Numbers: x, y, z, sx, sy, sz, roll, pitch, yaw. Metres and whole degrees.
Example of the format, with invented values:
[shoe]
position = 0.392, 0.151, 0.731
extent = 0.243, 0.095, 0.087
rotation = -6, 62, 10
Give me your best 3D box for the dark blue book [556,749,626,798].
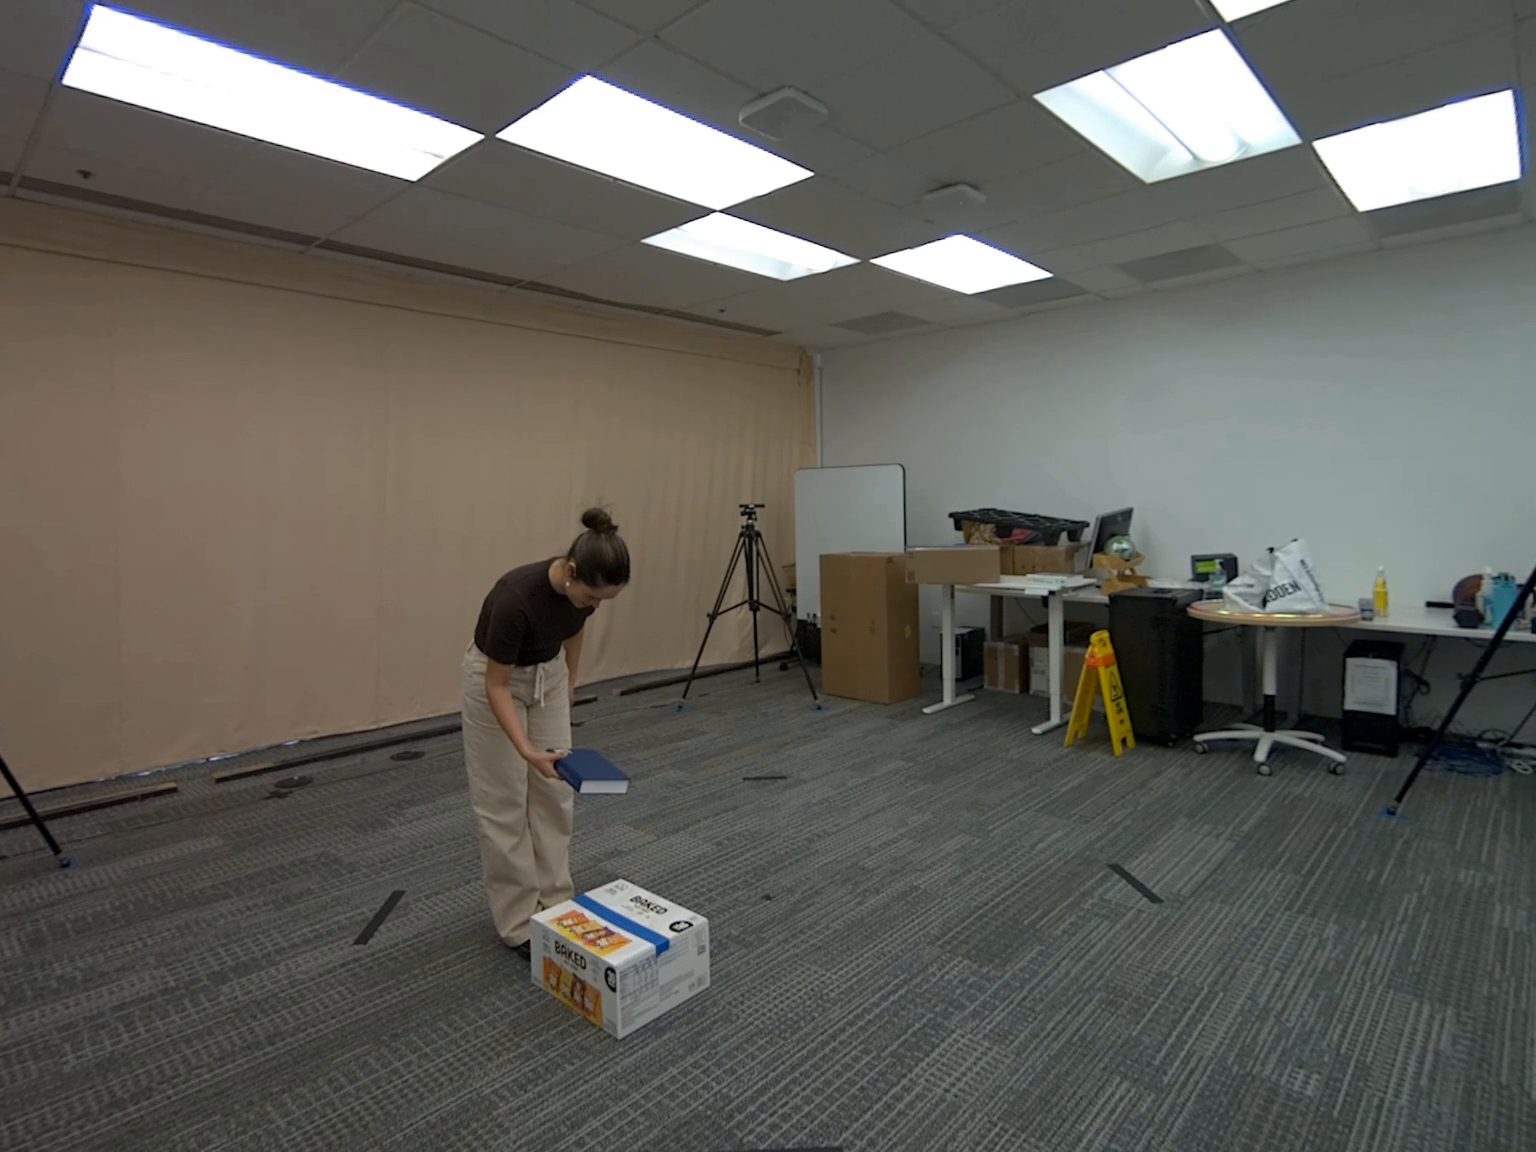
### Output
[dark blue book]
position = -0.551, 0.571, 2.474
extent = 0.158, 0.045, 0.254
rotation = 8, 5, -39
